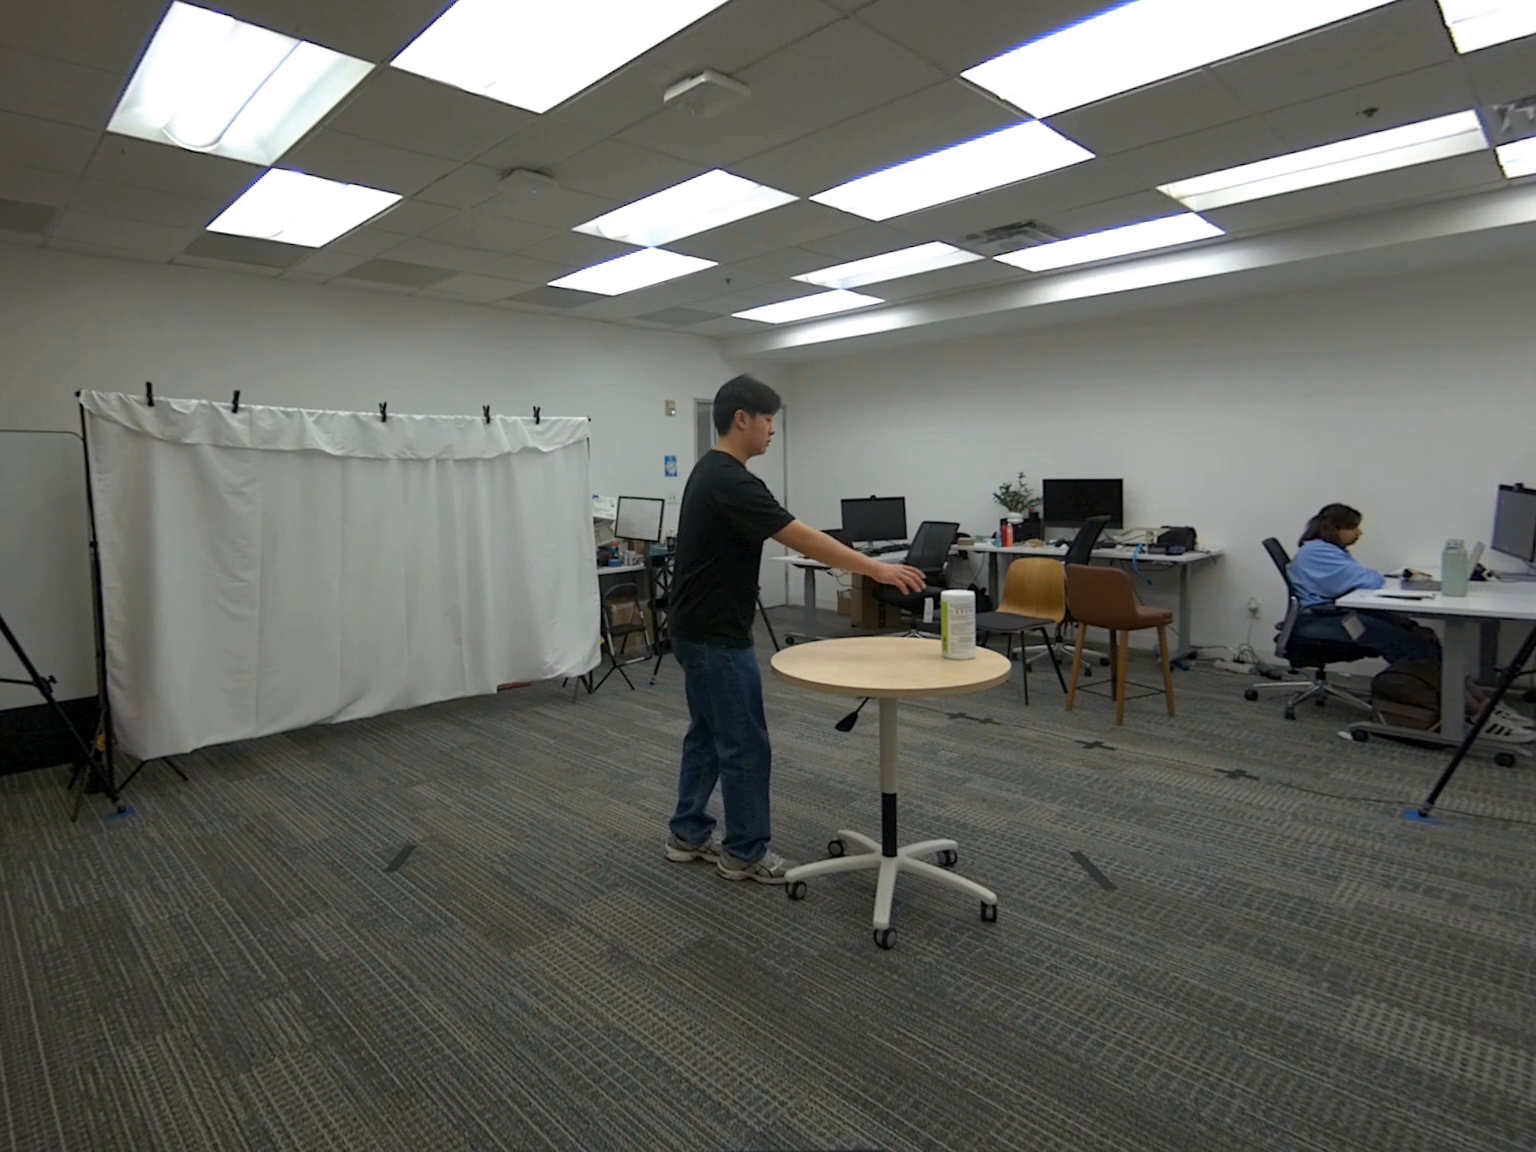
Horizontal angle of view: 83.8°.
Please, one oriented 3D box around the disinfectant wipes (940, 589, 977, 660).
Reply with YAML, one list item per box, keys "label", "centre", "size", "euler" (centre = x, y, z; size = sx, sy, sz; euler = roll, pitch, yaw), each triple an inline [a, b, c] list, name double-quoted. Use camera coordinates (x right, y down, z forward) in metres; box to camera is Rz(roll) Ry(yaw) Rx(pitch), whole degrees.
- label: "disinfectant wipes"
  centre: [0.625, 0.160, 2.804]
  size: [0.118, 0.216, 0.118]
  euler: [-1, 6, -2]
